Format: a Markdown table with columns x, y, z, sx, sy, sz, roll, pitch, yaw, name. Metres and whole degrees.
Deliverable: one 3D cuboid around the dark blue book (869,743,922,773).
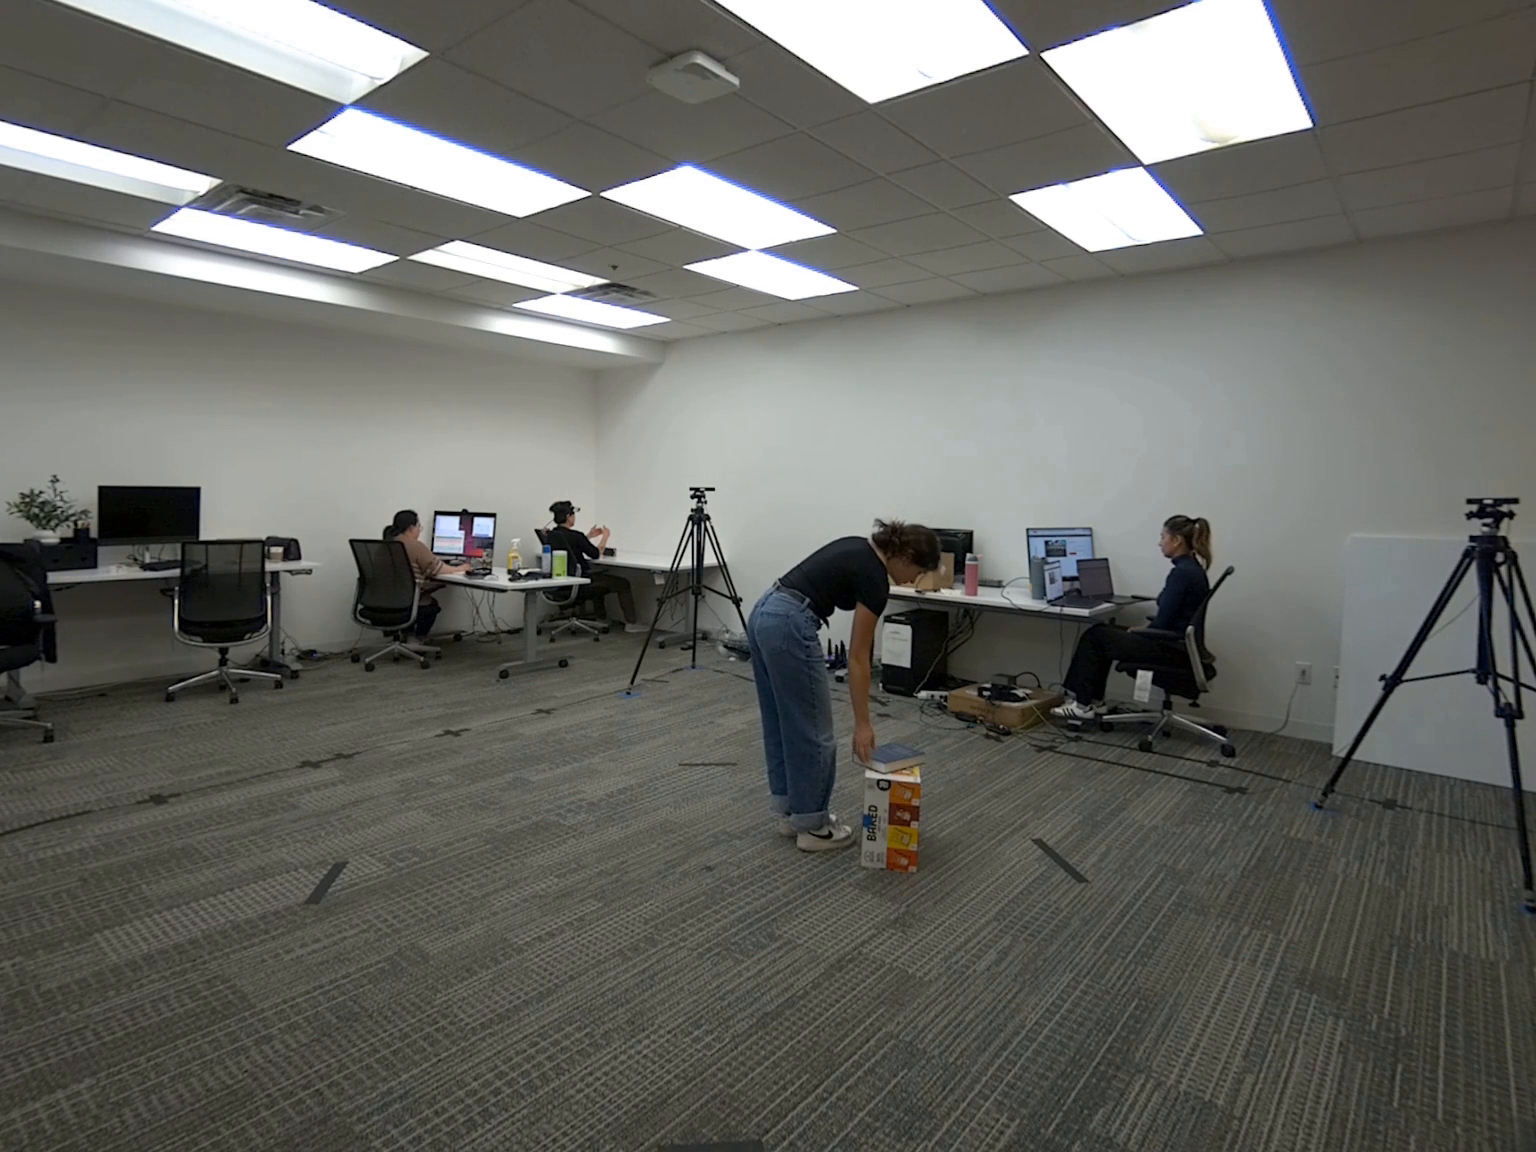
| x | y | z | sx | sy | sz | roll | pitch | yaw | name |
| --- | --- | --- | --- | --- | --- | --- | --- | --- | --- |
| 0.467 | 0.704 | 3.303 | 0.238 | 0.045 | 0.169 | -2 | 8 | -40 | dark blue book |
